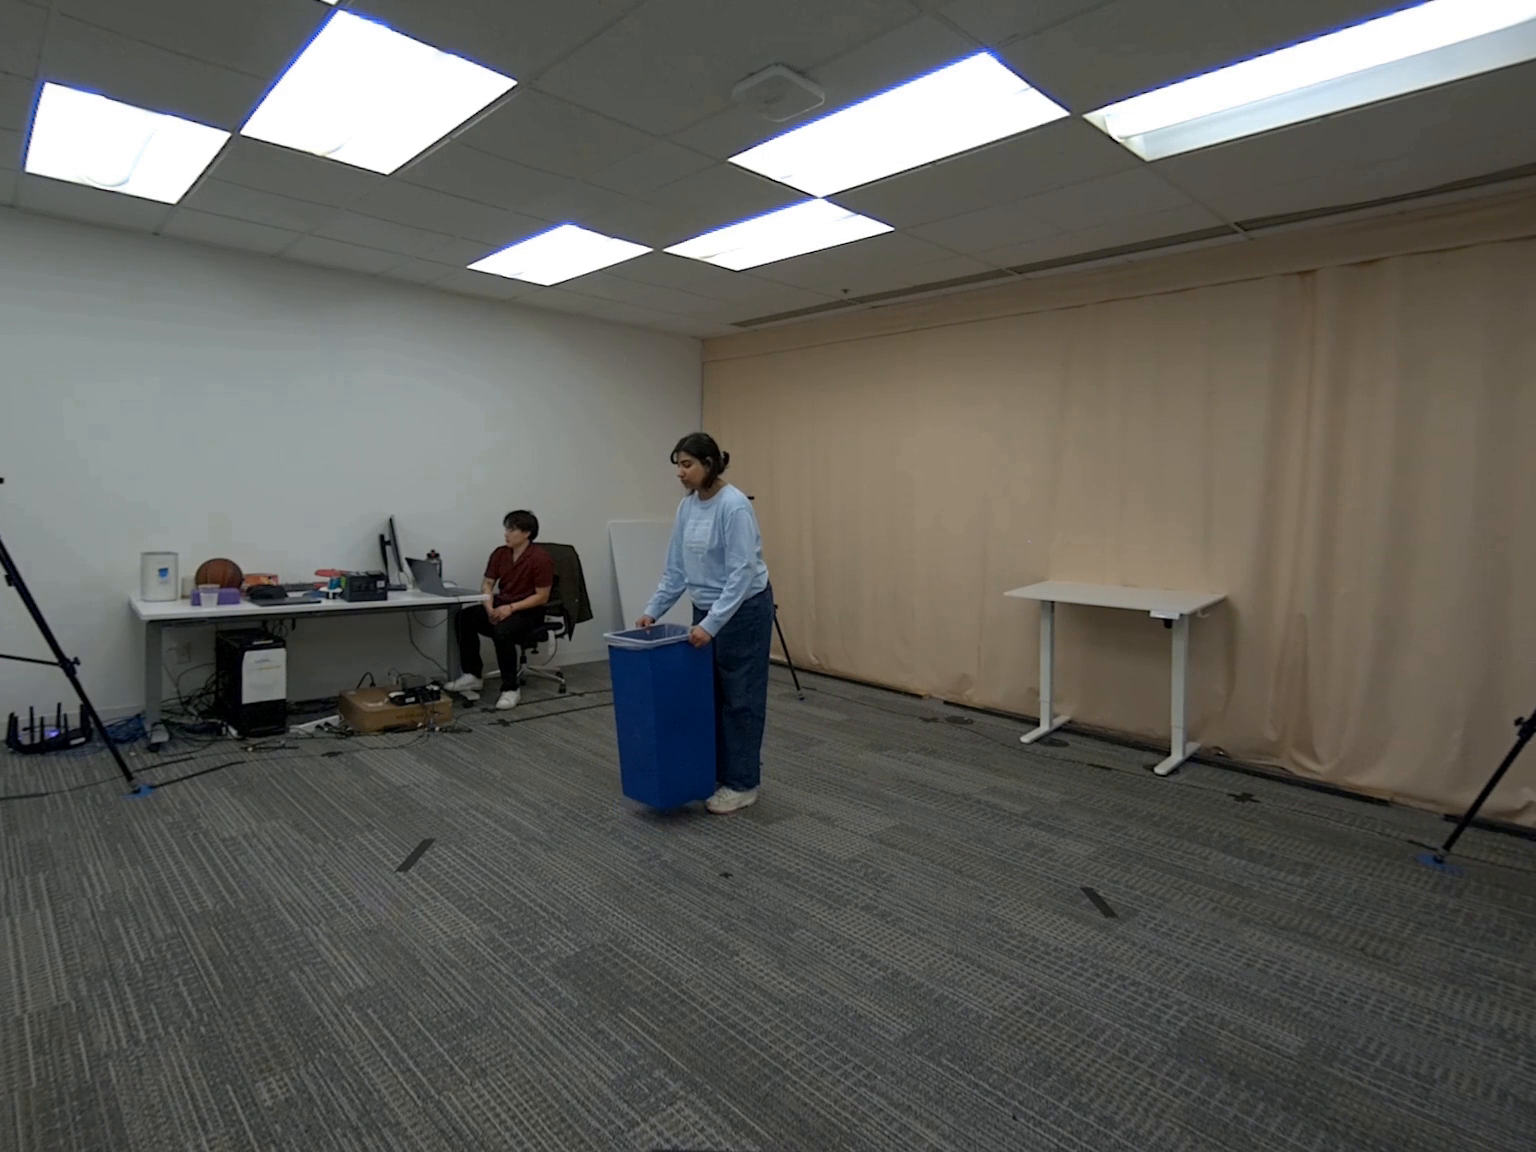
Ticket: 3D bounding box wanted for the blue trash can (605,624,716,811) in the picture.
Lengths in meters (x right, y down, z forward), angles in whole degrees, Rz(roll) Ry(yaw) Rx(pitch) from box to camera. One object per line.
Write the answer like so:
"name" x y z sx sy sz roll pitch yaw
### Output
"blue trash can" -0.463 0.596 3.653 0.366 0.712 0.387 -6 4 -42
